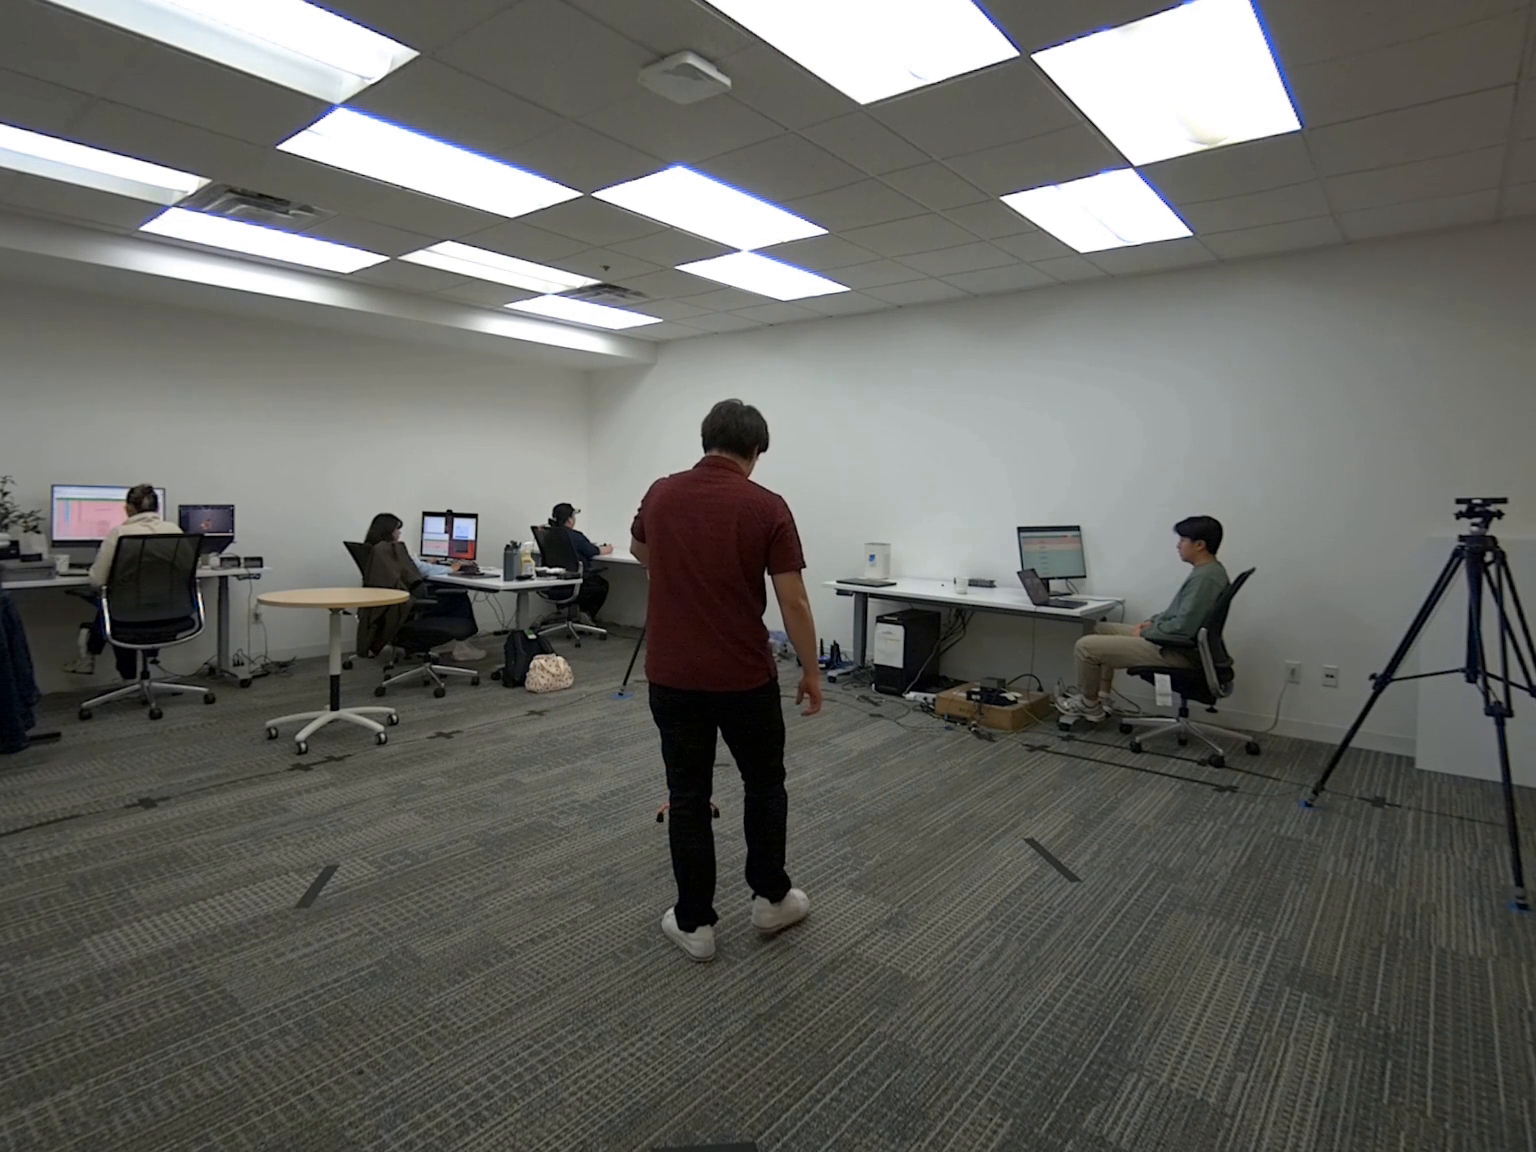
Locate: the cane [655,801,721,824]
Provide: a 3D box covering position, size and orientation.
[{"bbox_3d":[-0.298,0.461,3.147,0.157,0.905,0.200,4,4,41],"label":"cane"}]
